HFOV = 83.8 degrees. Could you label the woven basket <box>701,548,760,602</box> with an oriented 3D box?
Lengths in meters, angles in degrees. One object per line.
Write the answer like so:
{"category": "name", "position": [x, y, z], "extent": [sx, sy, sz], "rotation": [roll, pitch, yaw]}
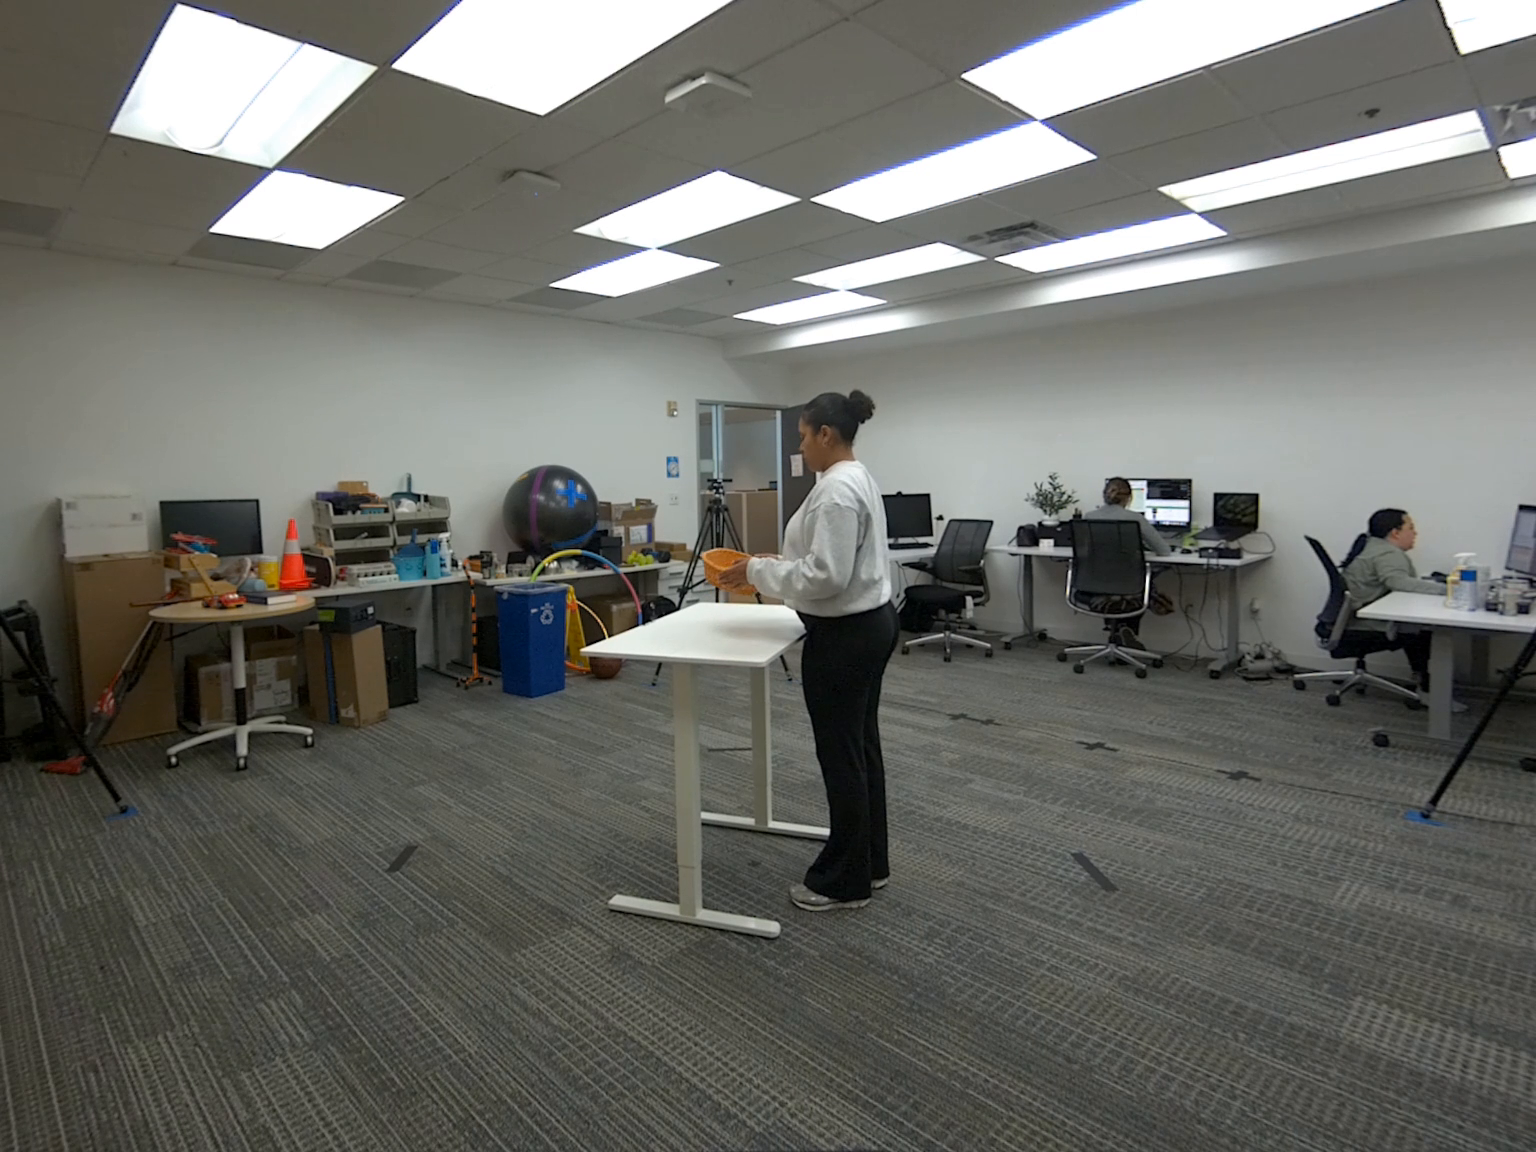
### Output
{"category": "woven basket", "position": [-0.056, 0.001, 2.909], "extent": [0.261, 0.073, 0.341], "rotation": [21, 14, 34]}
